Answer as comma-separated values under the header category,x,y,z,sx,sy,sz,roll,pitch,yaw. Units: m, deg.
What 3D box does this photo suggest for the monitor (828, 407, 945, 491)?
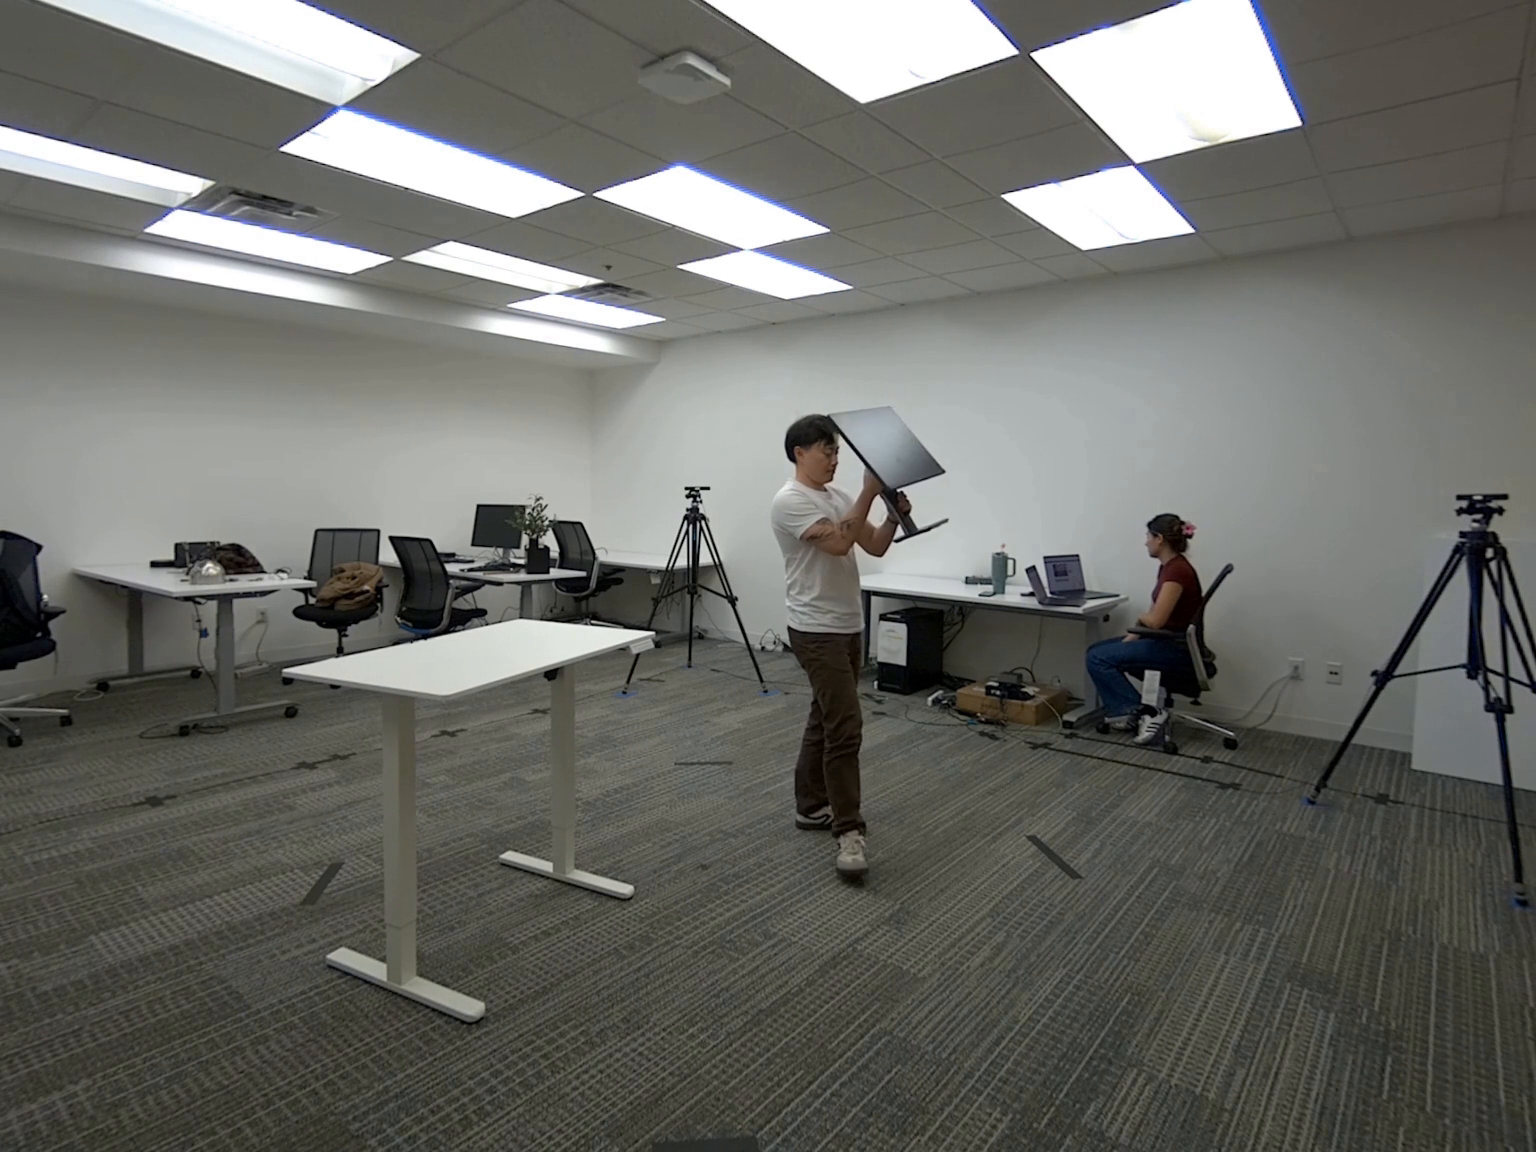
category,x,y,z,sx,sy,sz,roll,pitch,yaw
monitor,0.457,-0.396,3.188,0.189,0.526,0.529,-29,-5,32
